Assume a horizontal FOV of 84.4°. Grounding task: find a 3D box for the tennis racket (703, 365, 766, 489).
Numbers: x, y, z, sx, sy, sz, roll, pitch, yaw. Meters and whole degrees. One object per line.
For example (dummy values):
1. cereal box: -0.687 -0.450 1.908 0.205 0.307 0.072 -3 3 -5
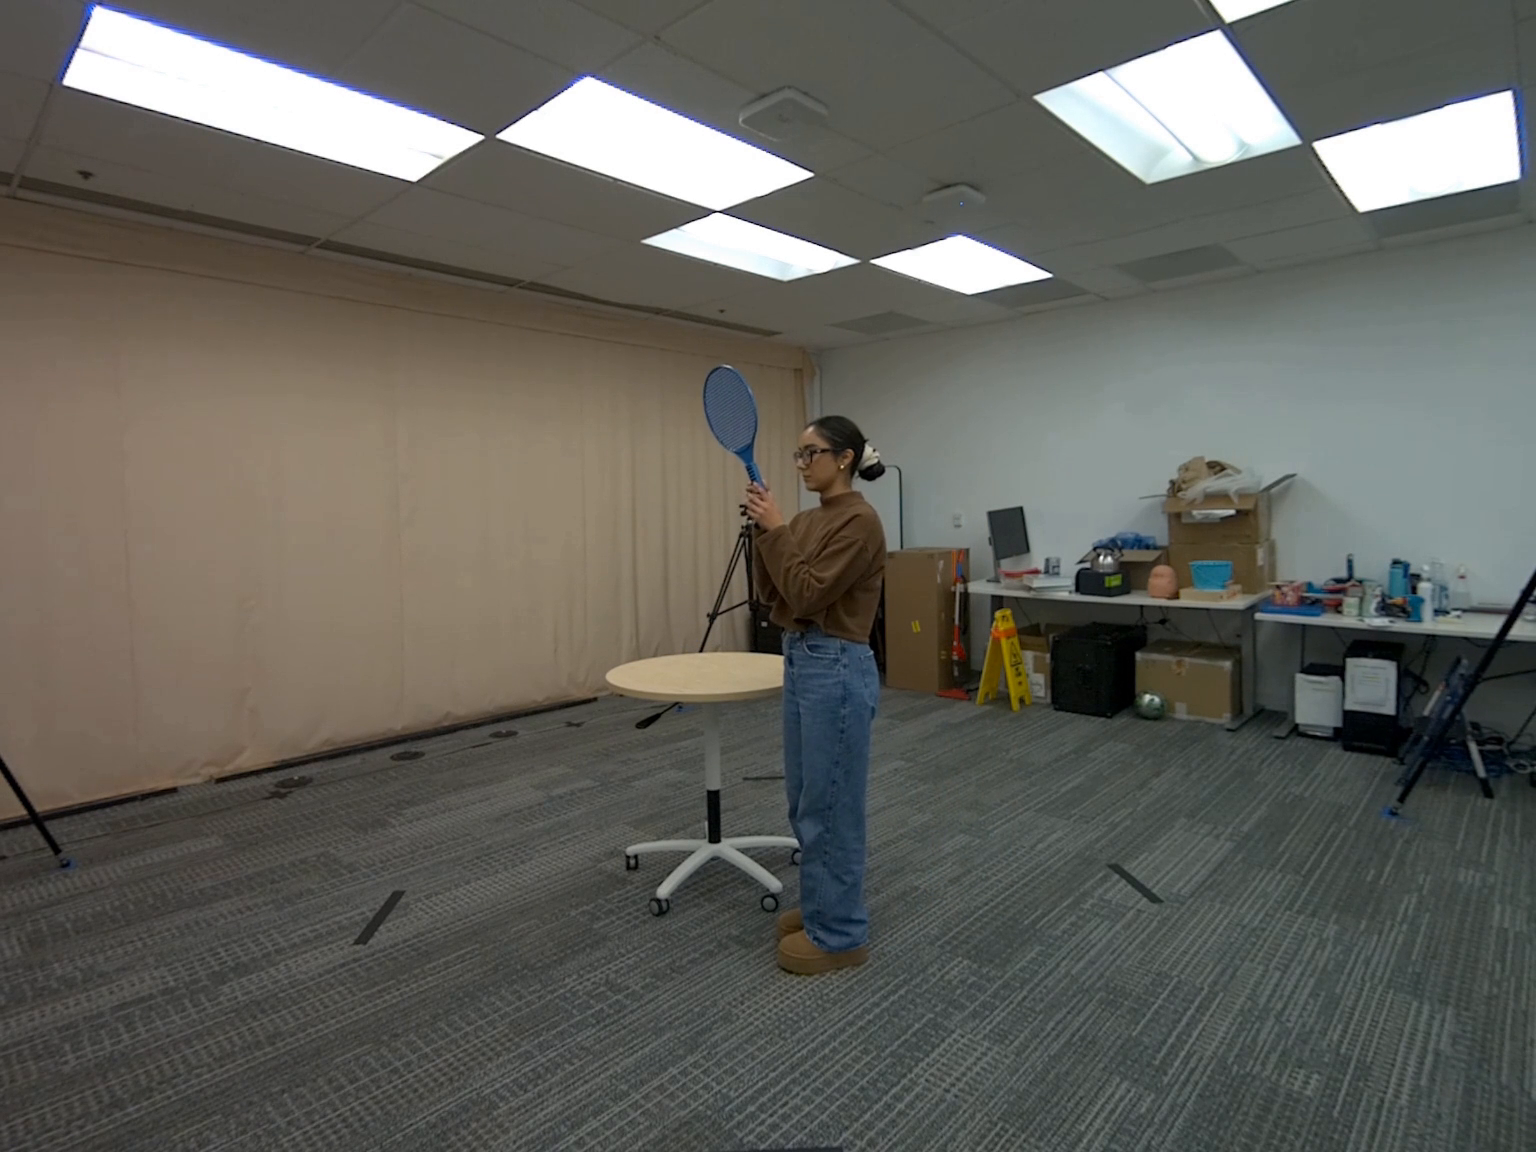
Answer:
1. tennis racket: -0.073 -0.427 2.524 0.031 0.434 0.218 -19 -4 -42
